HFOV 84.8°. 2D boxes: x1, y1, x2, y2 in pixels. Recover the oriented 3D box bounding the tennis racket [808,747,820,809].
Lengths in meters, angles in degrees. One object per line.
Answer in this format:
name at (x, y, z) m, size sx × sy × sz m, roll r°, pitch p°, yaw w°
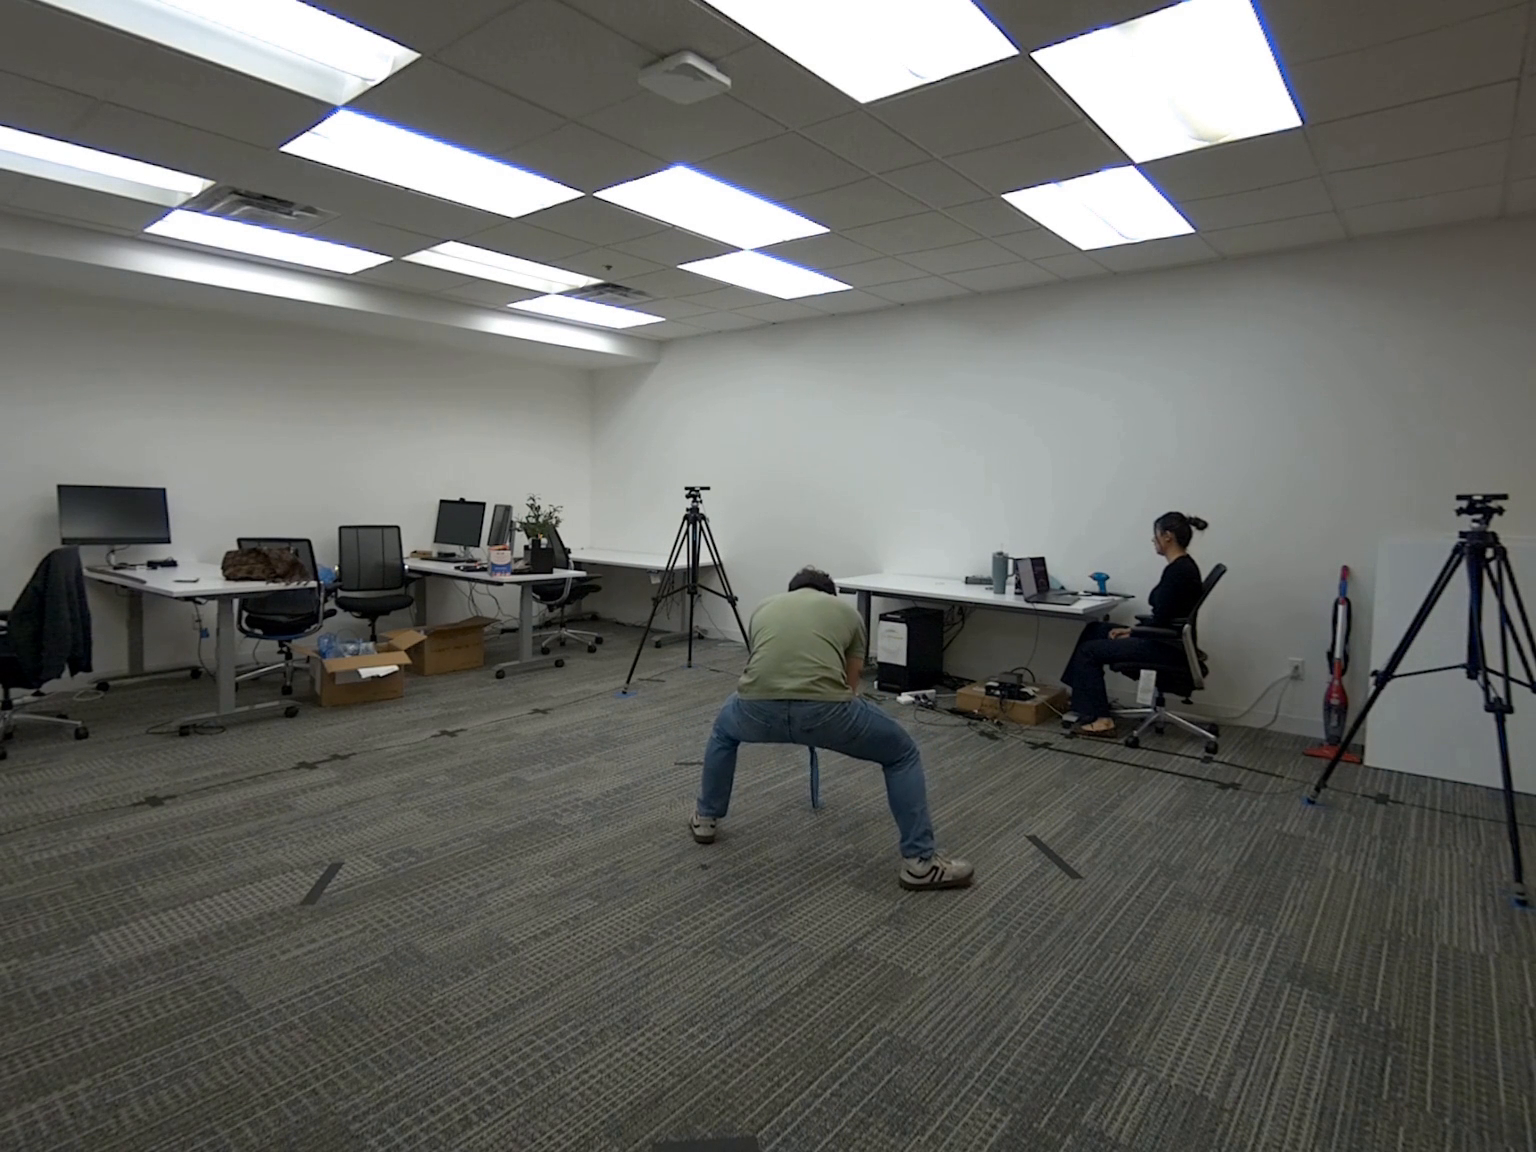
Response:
tennis racket at (0.186, 0.816, 3.659) m, size 0.032 × 0.421 × 0.217 m, roll 0°, pitch 32°, yaw 8°
